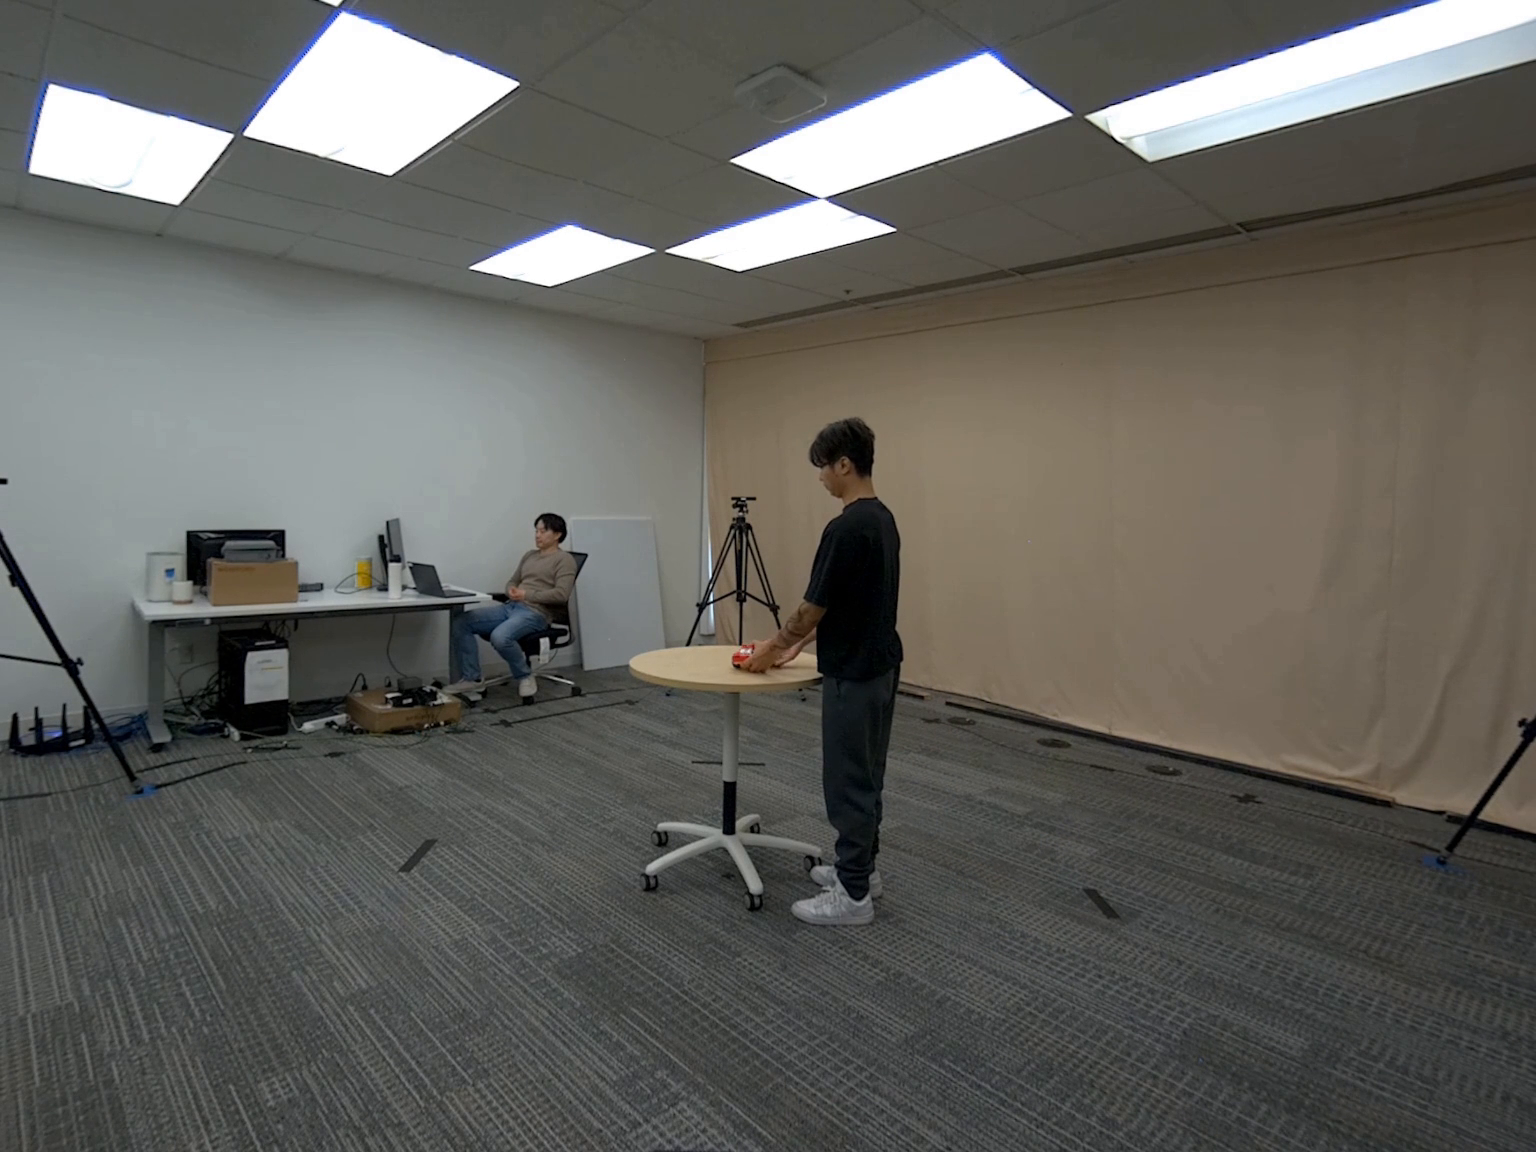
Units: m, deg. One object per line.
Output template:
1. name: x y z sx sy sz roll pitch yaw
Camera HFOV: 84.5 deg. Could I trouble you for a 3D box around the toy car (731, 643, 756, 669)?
1. toy car: -0.059 0.296 3.039 0.132 0.084 0.249 0 -8 19
